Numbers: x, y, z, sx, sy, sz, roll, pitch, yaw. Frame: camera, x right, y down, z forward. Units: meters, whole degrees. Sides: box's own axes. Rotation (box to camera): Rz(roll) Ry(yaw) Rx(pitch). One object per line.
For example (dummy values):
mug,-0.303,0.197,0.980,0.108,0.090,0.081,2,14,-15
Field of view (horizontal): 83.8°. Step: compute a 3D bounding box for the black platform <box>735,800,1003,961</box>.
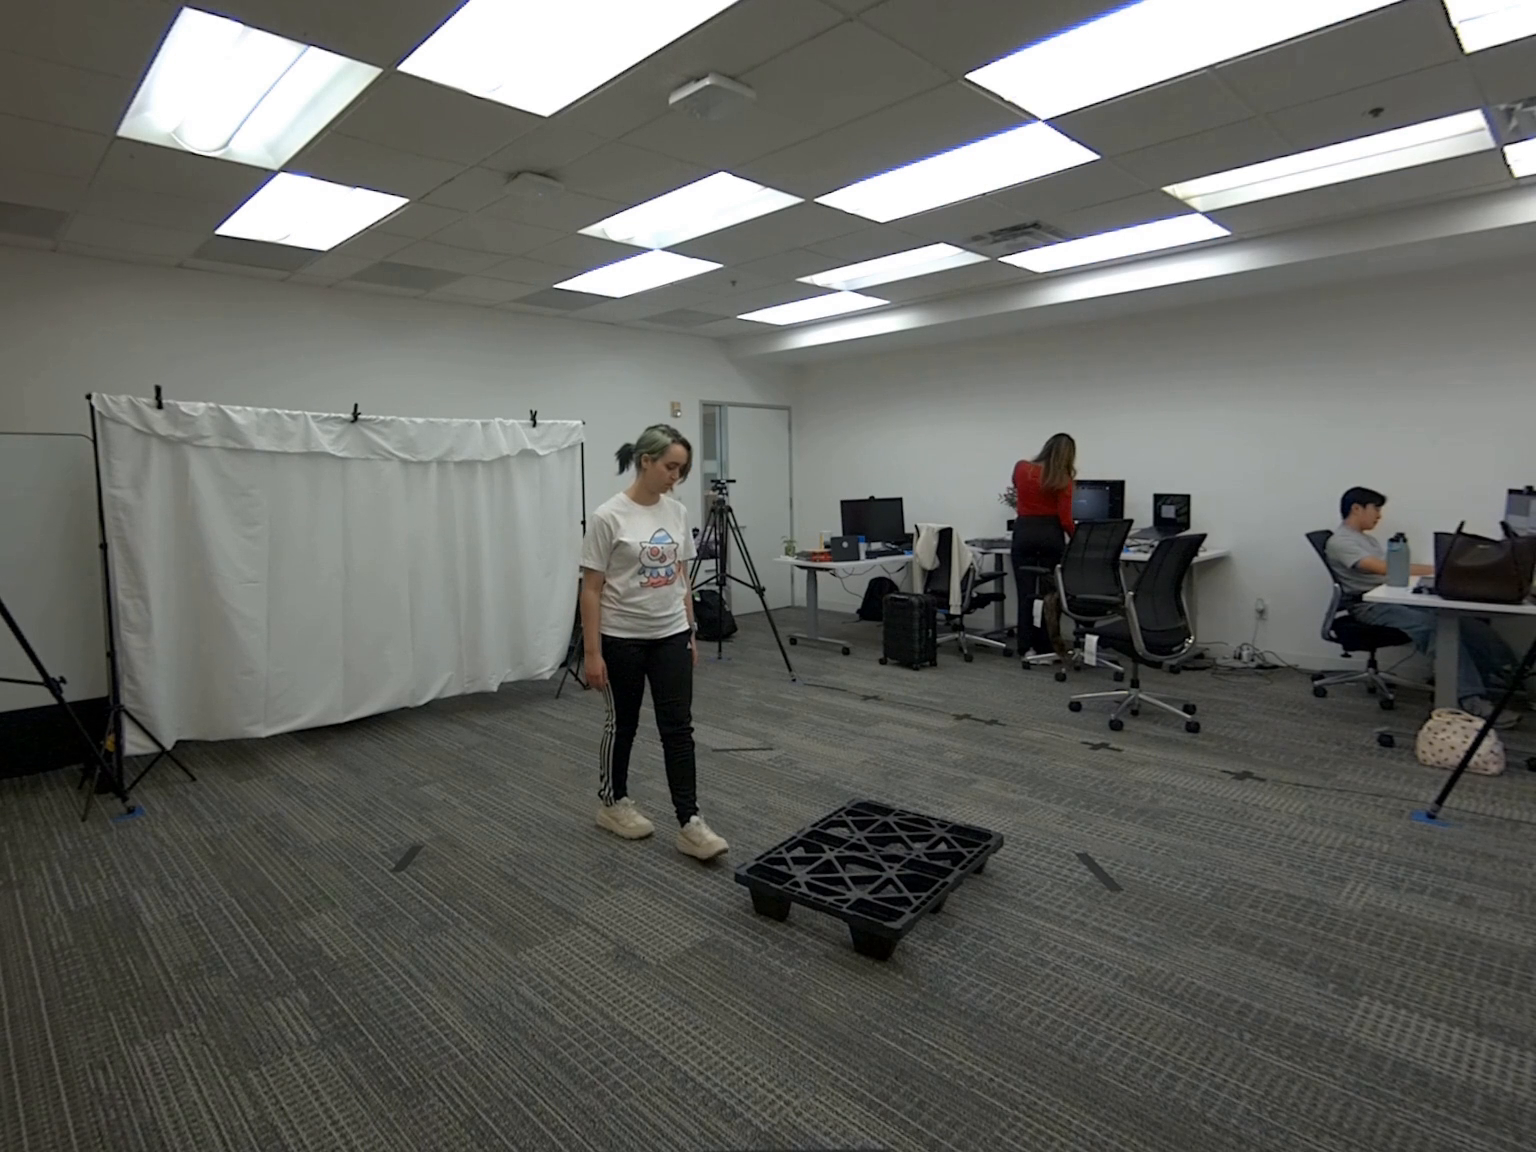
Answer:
black platform,0.367,0.997,2.887,0.623,0.142,0.786,5,9,37
